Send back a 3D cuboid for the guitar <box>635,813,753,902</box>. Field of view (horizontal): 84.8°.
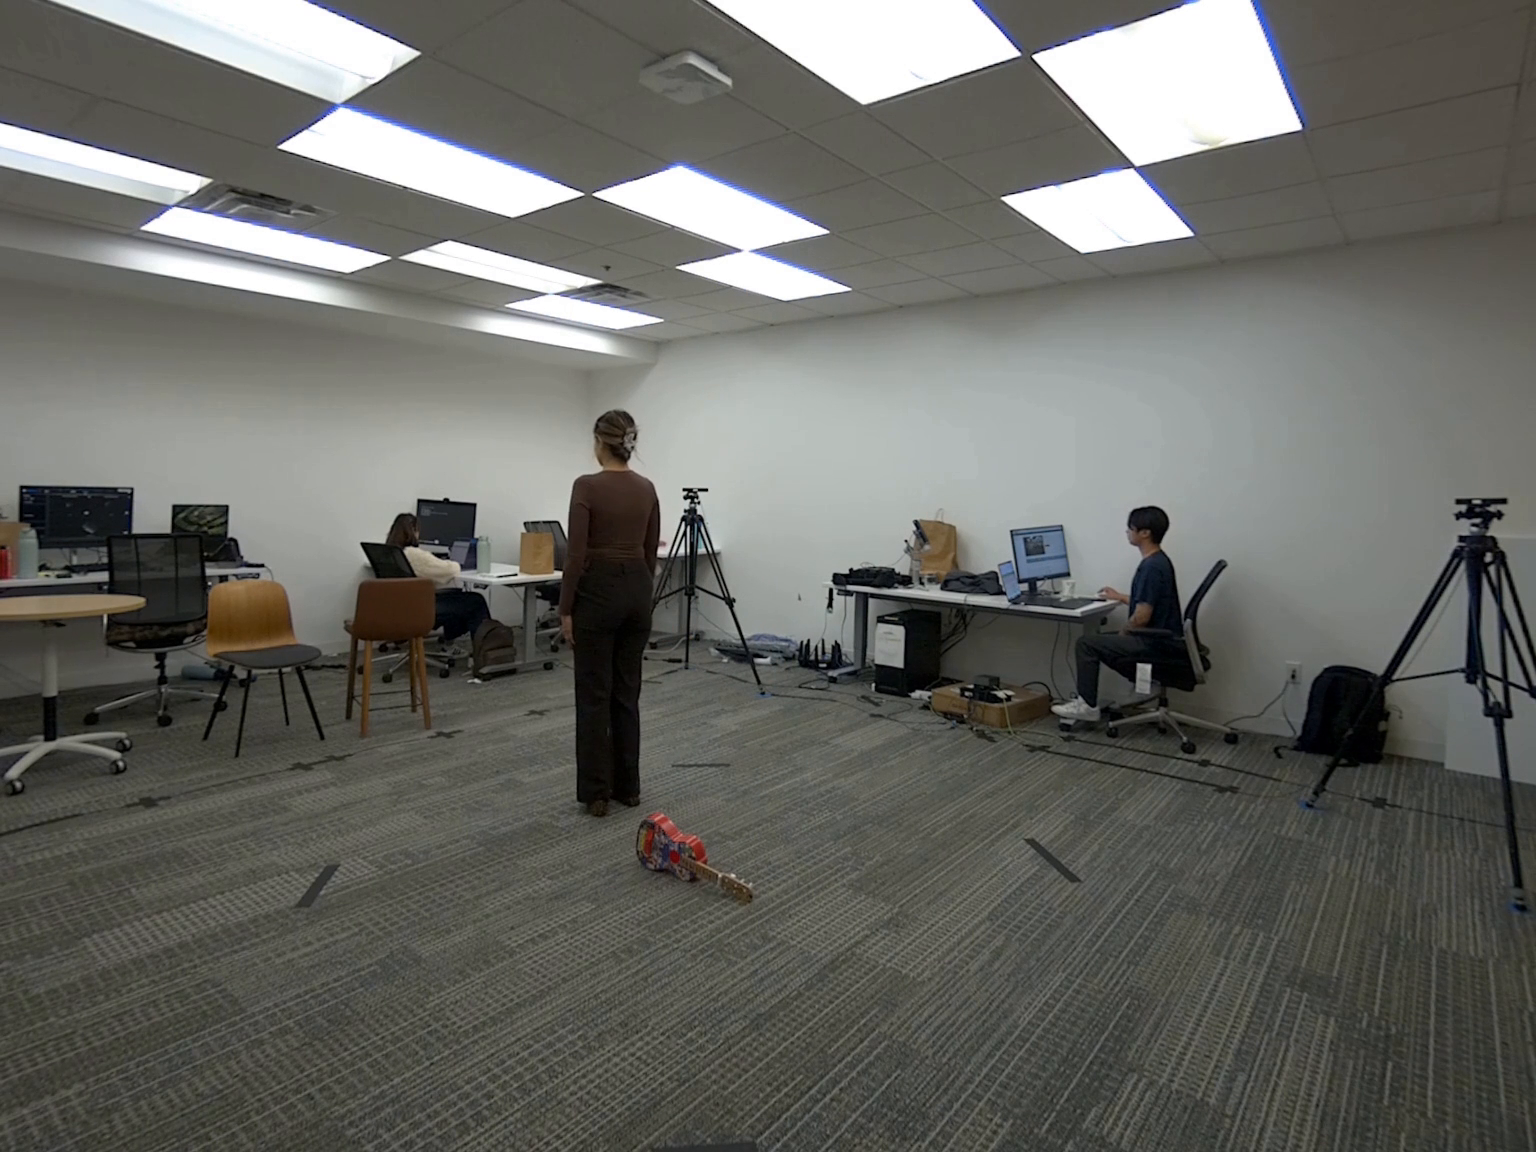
[{"bbox_3d":[-0.274,1.035,3.014,0.515,0.191,0.069,24,15,29],"label":"guitar"}]
